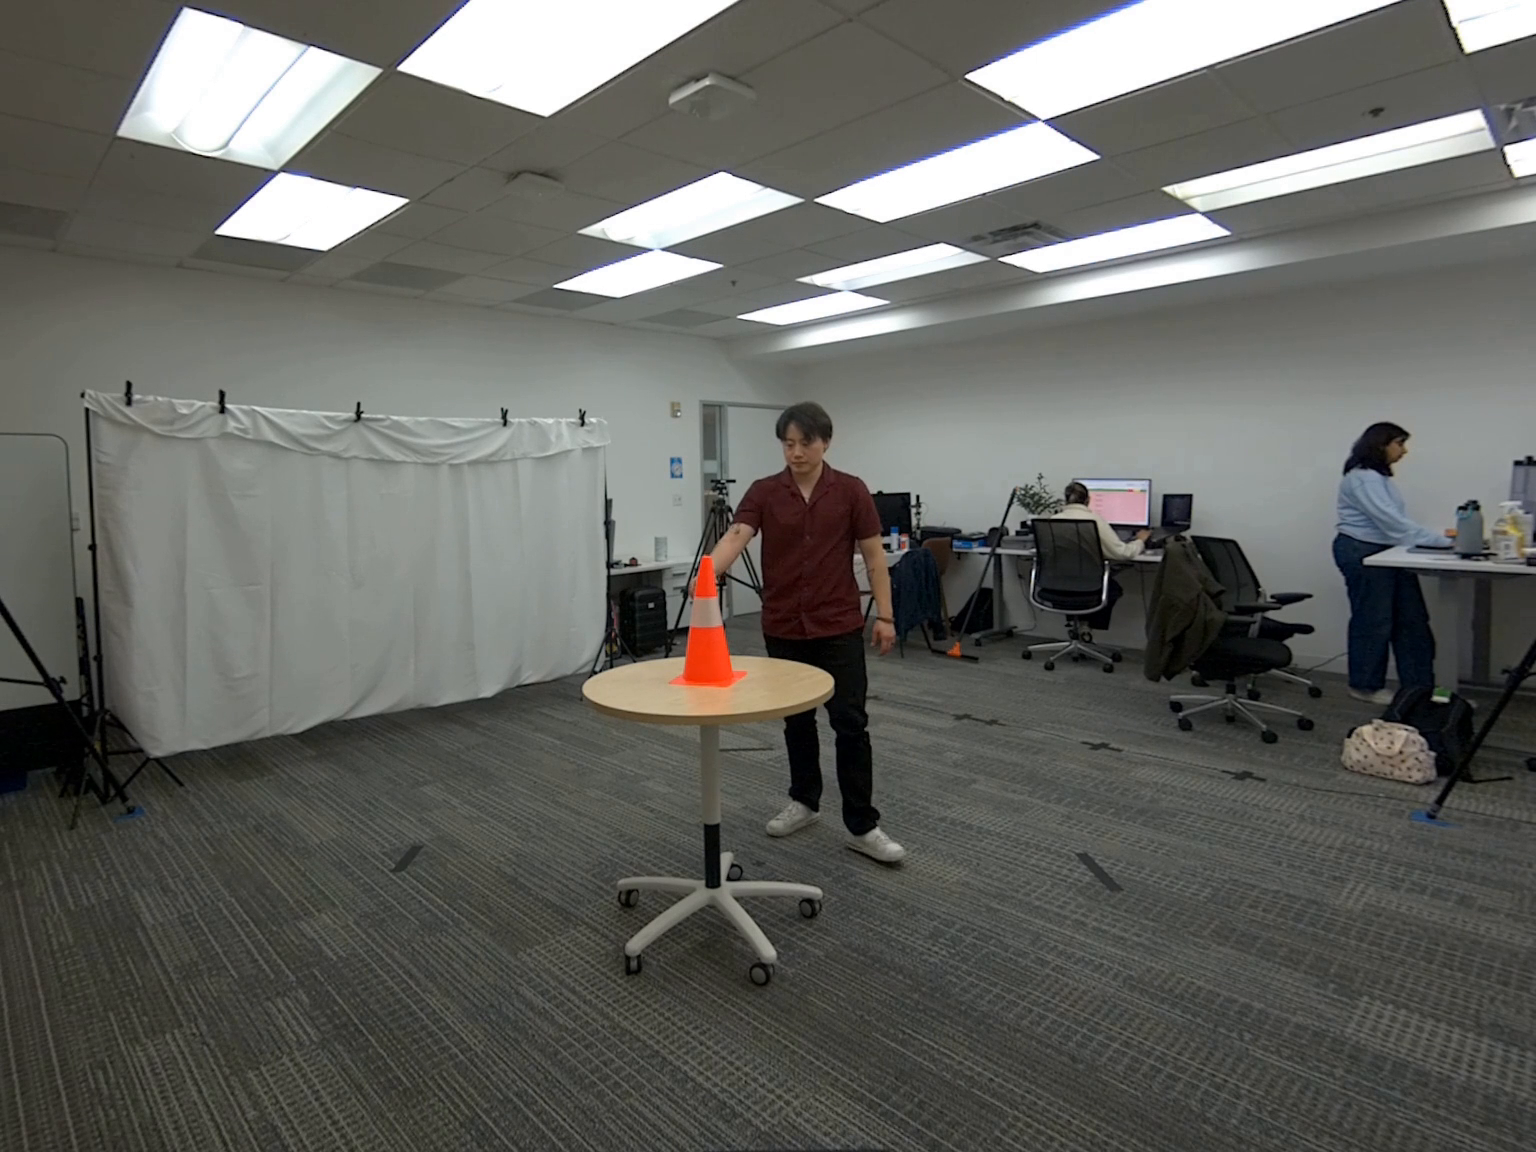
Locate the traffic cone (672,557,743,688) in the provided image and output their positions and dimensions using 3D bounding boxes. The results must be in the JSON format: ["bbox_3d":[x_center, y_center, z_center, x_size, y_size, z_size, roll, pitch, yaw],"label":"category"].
[{"bbox_3d":[-0.192,0.131,2.650,0.207,0.383,0.201,-1,3,20],"label":"traffic cone"}]
